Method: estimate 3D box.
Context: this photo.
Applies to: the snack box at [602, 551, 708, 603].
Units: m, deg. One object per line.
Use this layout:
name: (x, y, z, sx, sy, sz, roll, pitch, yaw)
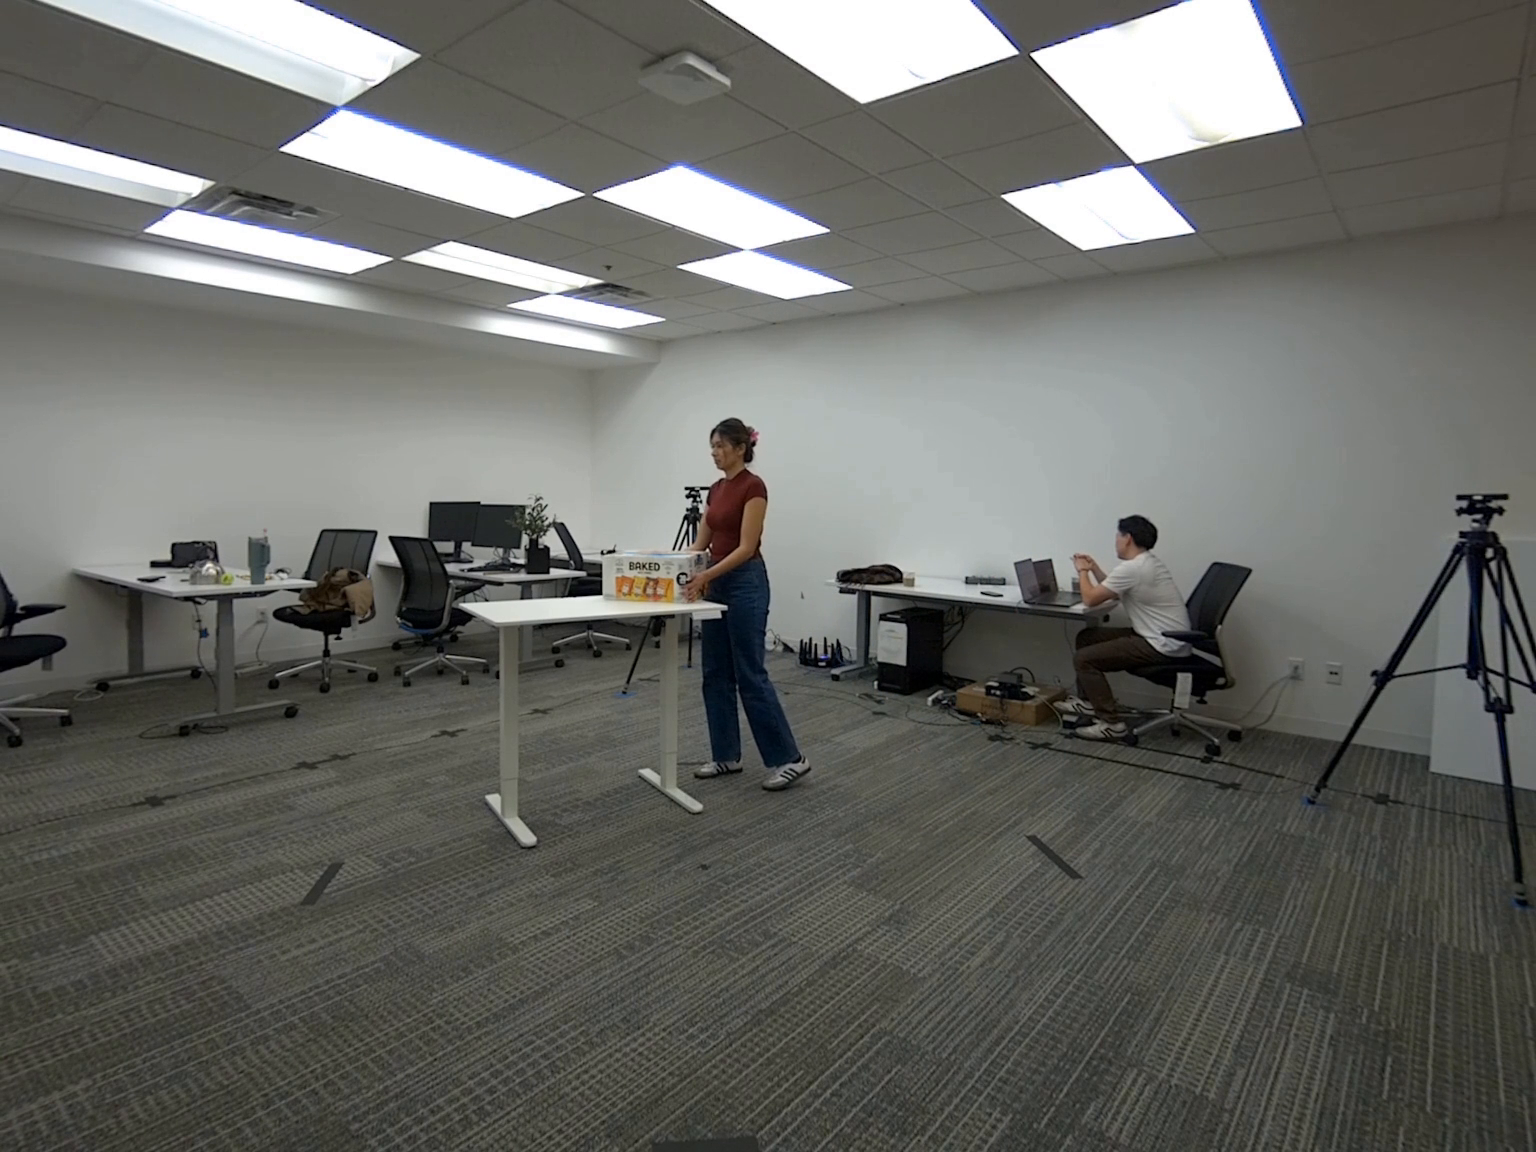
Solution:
snack box: (-0.526, -0.008, 3.939, 0.411, 0.205, 0.337, 1, 5, 13)
